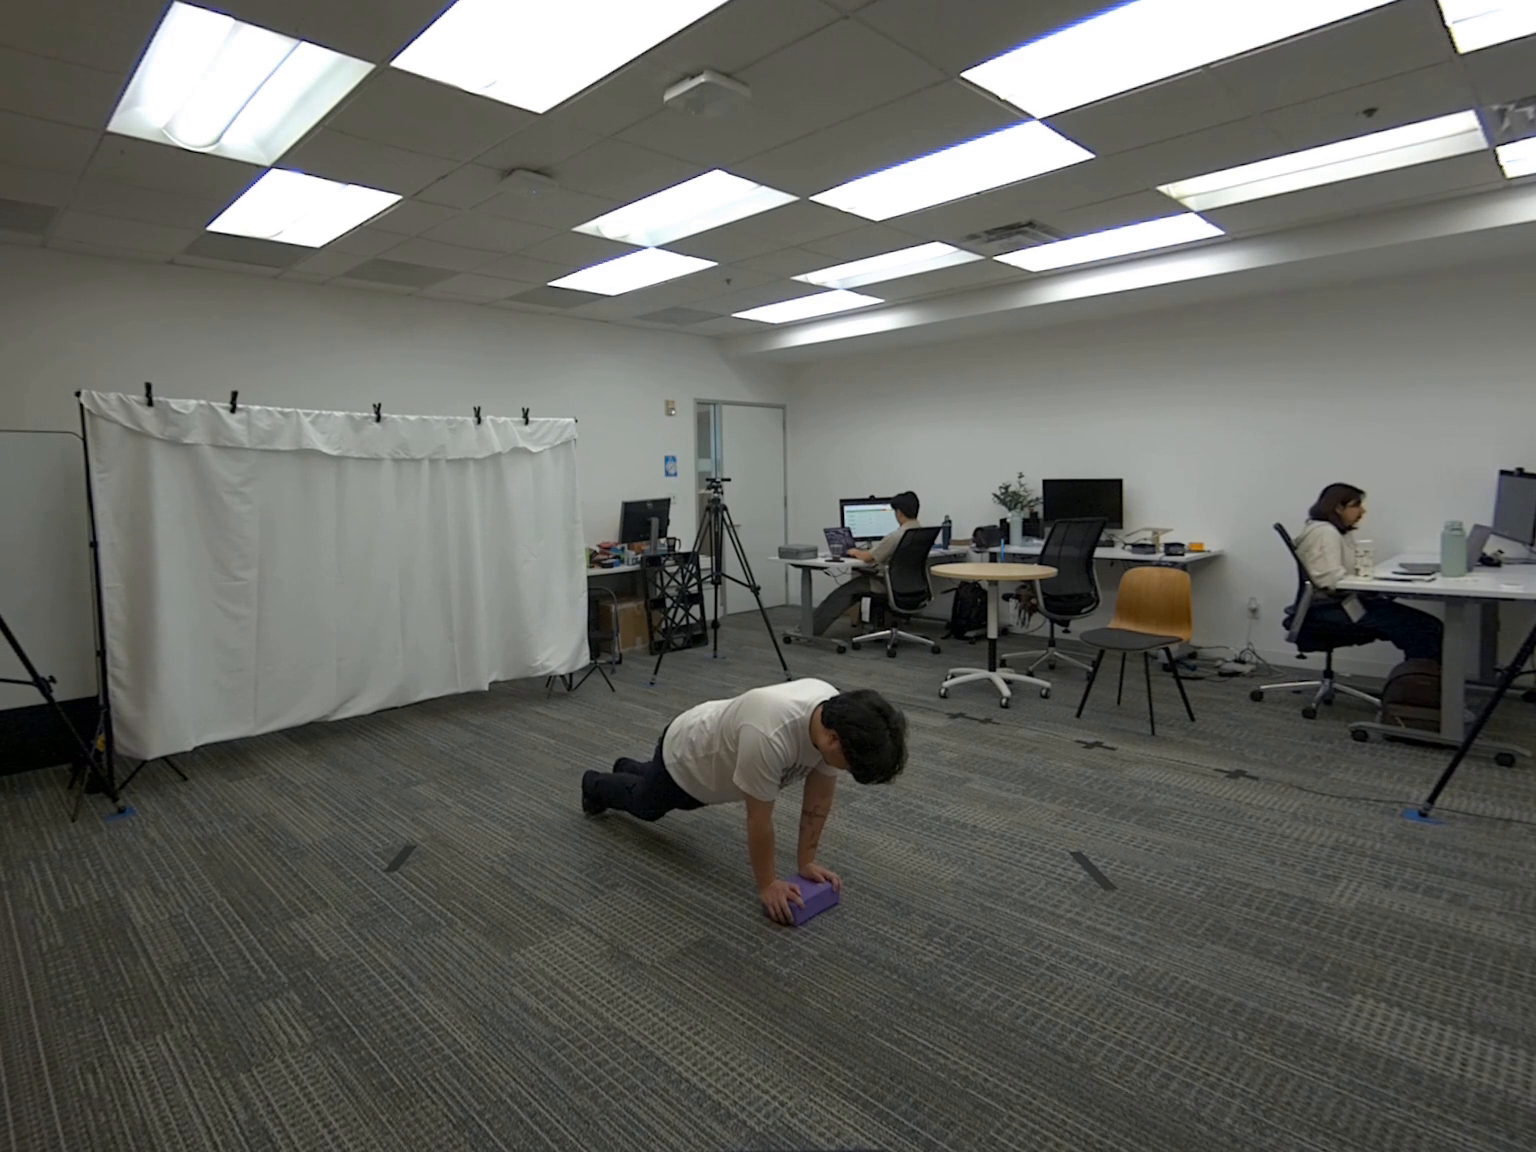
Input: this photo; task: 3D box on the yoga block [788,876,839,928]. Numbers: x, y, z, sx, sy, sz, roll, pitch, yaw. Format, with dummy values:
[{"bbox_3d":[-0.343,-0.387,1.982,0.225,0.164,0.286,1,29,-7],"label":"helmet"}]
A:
[{"bbox_3d":[0.111,1.046,2.776,0.153,0.076,0.223,3,7,44],"label":"yoga block"}]
